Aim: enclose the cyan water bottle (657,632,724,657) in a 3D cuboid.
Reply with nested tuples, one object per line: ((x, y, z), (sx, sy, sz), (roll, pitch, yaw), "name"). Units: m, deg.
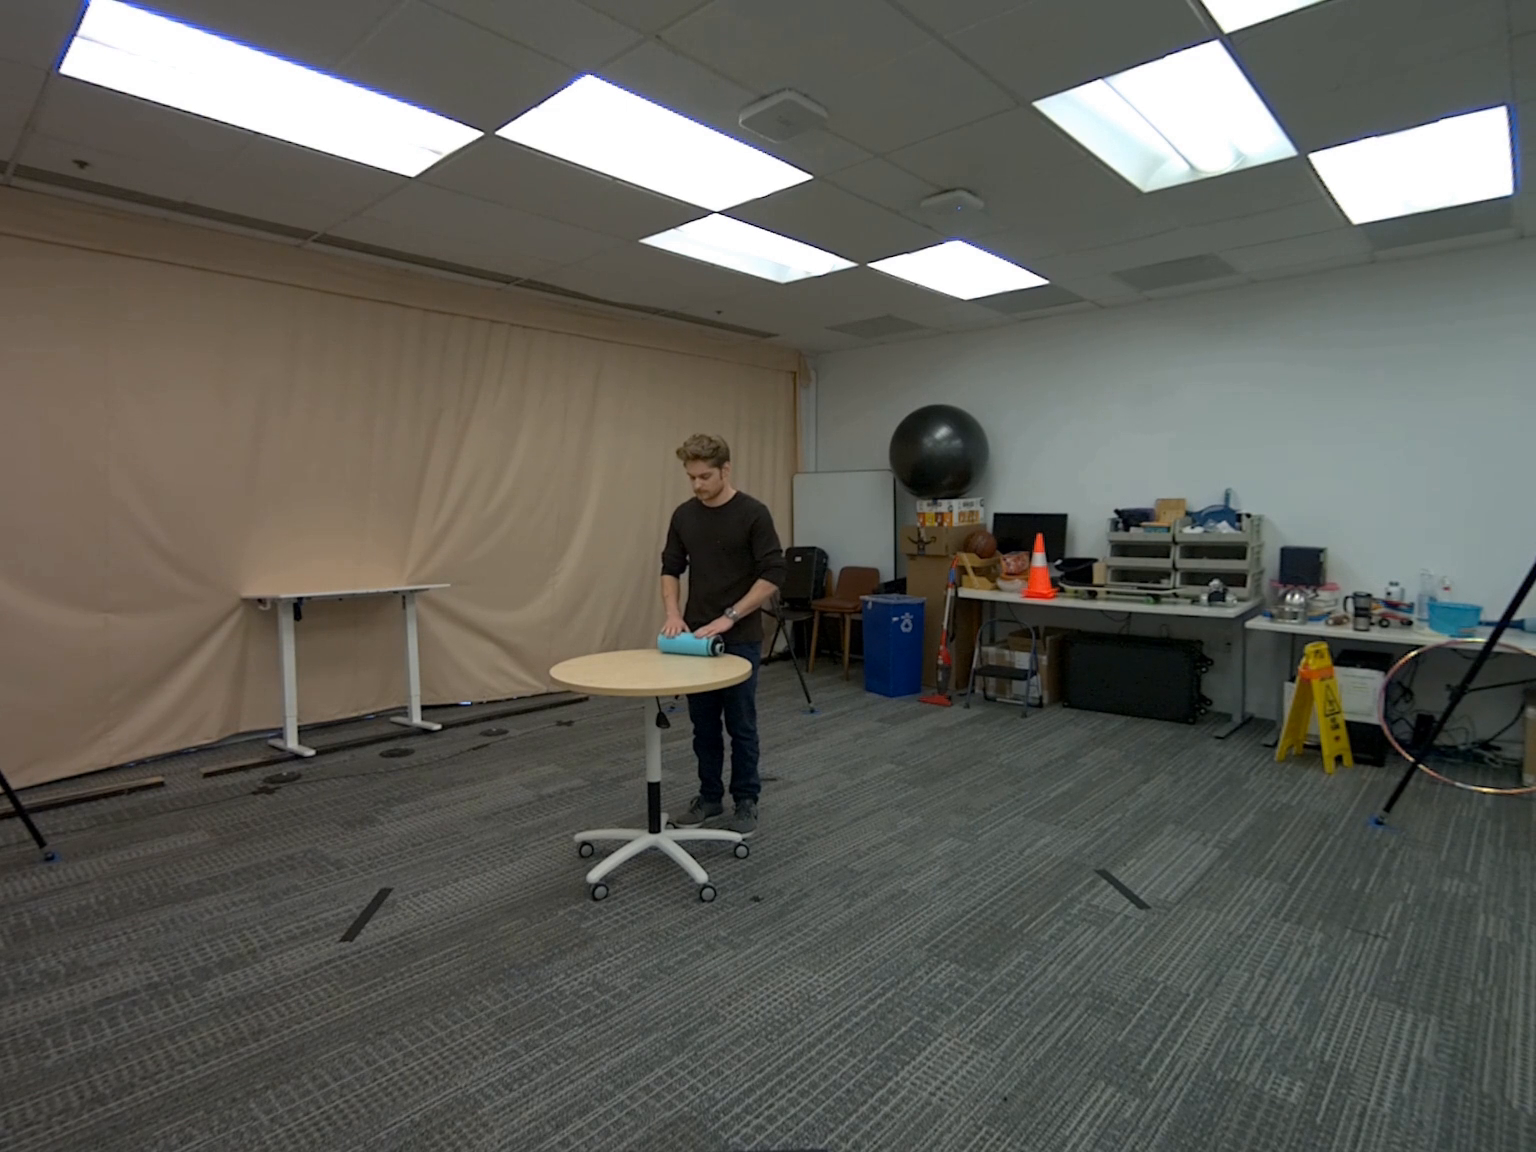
((-0.316, 0.277, 3.445), (0.291, 0.092, 0.090), (1, 4, 26), "cyan water bottle")
